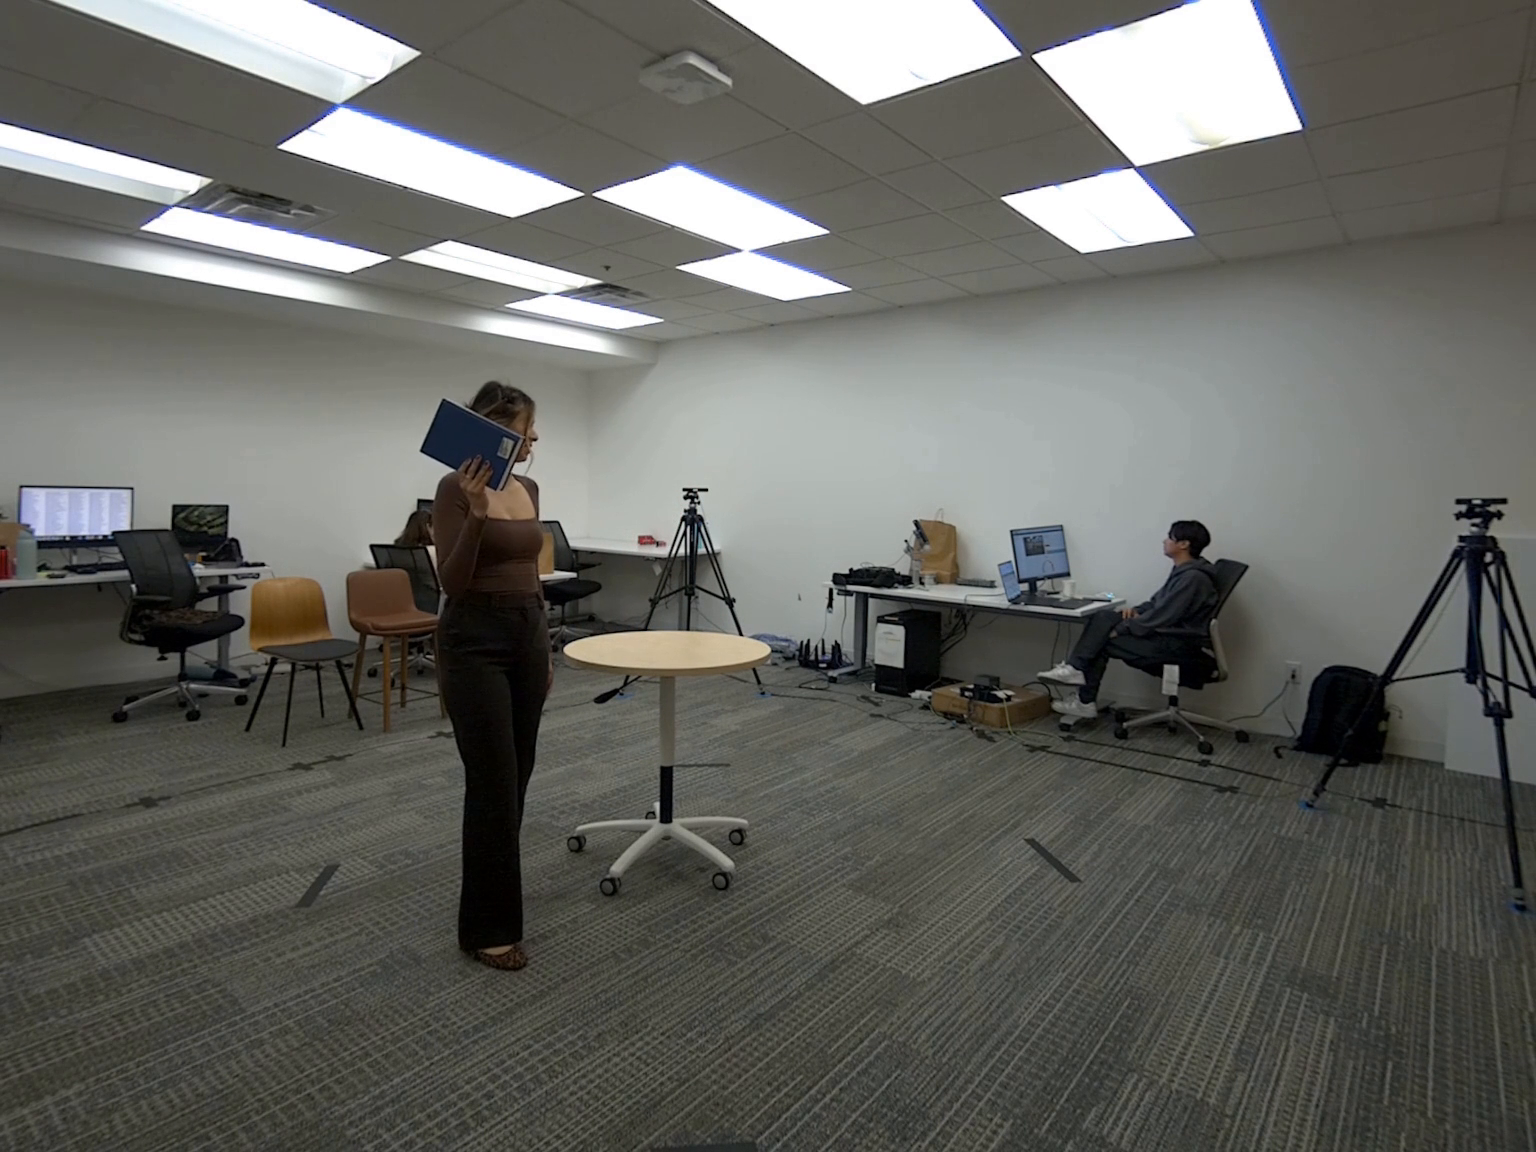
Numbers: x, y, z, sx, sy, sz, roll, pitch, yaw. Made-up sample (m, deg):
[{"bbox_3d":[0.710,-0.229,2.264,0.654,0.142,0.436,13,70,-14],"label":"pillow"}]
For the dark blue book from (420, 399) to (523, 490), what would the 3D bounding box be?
[{"bbox_3d":[-0.816,-0.360,2.316,0.247,0.163,0.045,25,5,5],"label":"dark blue book"}]
